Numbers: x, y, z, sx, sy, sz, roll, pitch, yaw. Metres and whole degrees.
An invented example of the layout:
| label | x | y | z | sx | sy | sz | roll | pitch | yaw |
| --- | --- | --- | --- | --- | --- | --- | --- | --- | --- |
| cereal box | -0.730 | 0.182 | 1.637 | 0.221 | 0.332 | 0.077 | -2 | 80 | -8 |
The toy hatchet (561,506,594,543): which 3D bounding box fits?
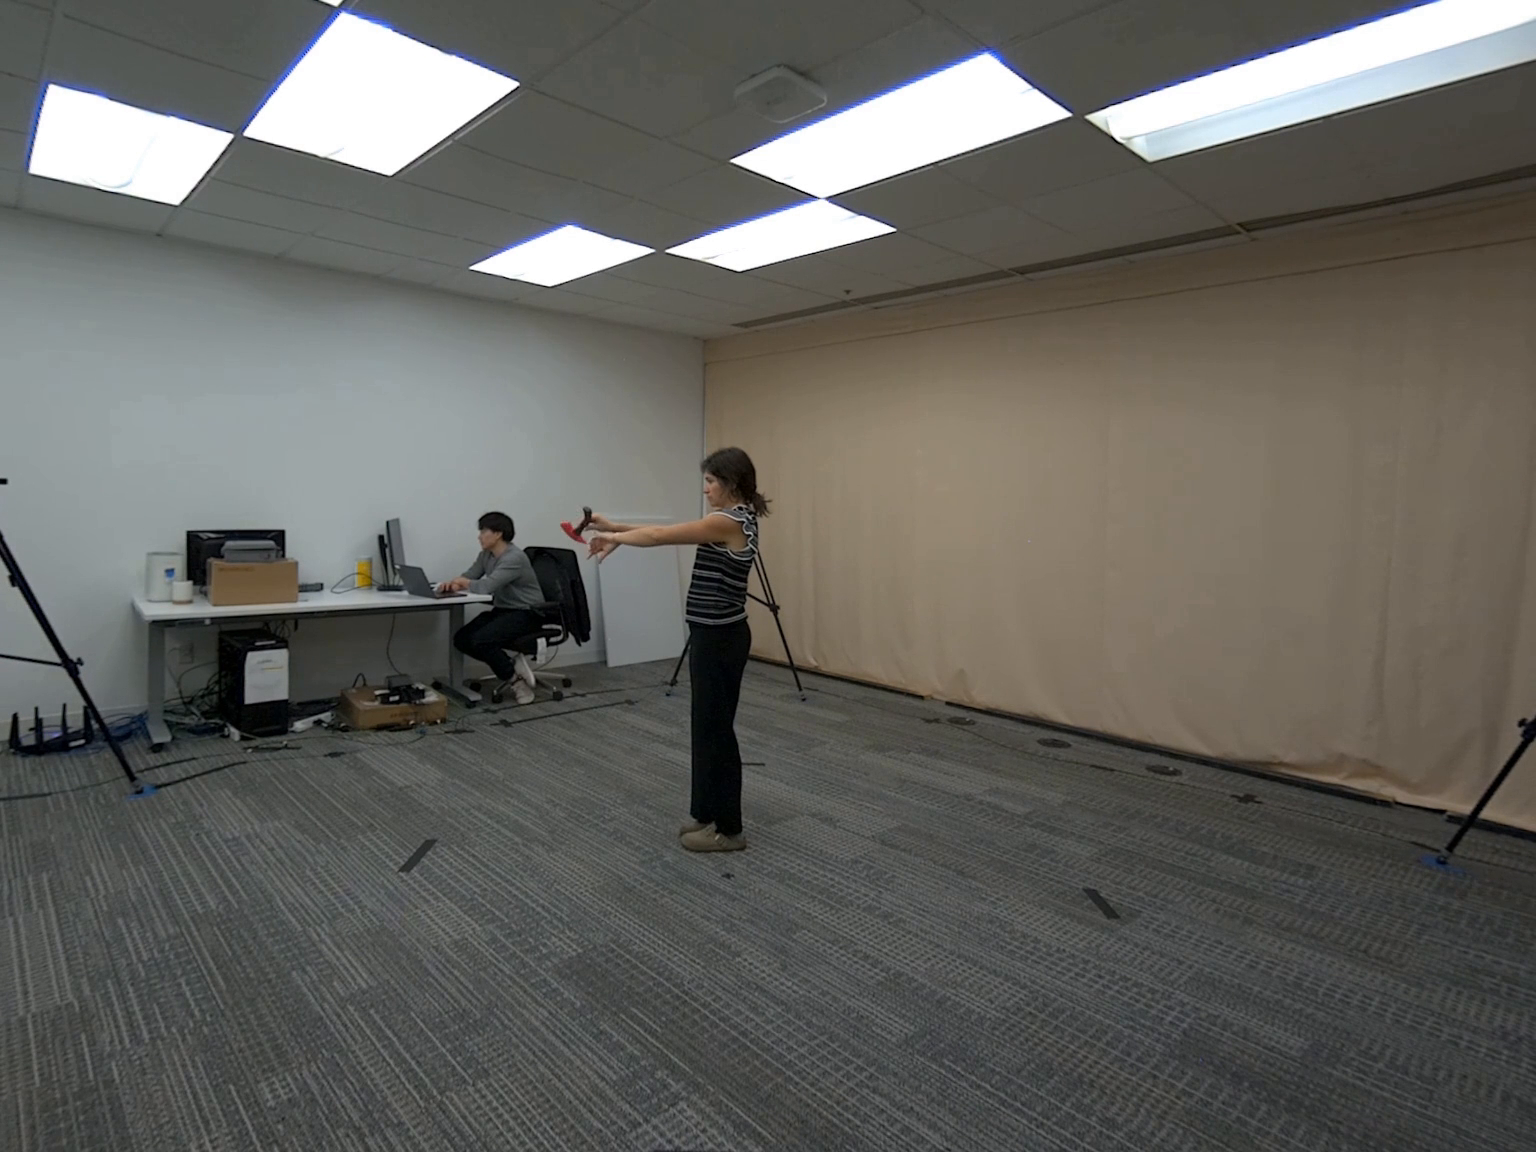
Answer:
| label | x | y | z | sx | sy | sz | roll | pitch | yaw |
| --- | --- | --- | --- | --- | --- | --- | --- | --- | --- |
| toy hatchet | -0.776 | -0.218 | 3.386 | 0.132 | 0.030 | 0.268 | 34 | -31 | 3 |
